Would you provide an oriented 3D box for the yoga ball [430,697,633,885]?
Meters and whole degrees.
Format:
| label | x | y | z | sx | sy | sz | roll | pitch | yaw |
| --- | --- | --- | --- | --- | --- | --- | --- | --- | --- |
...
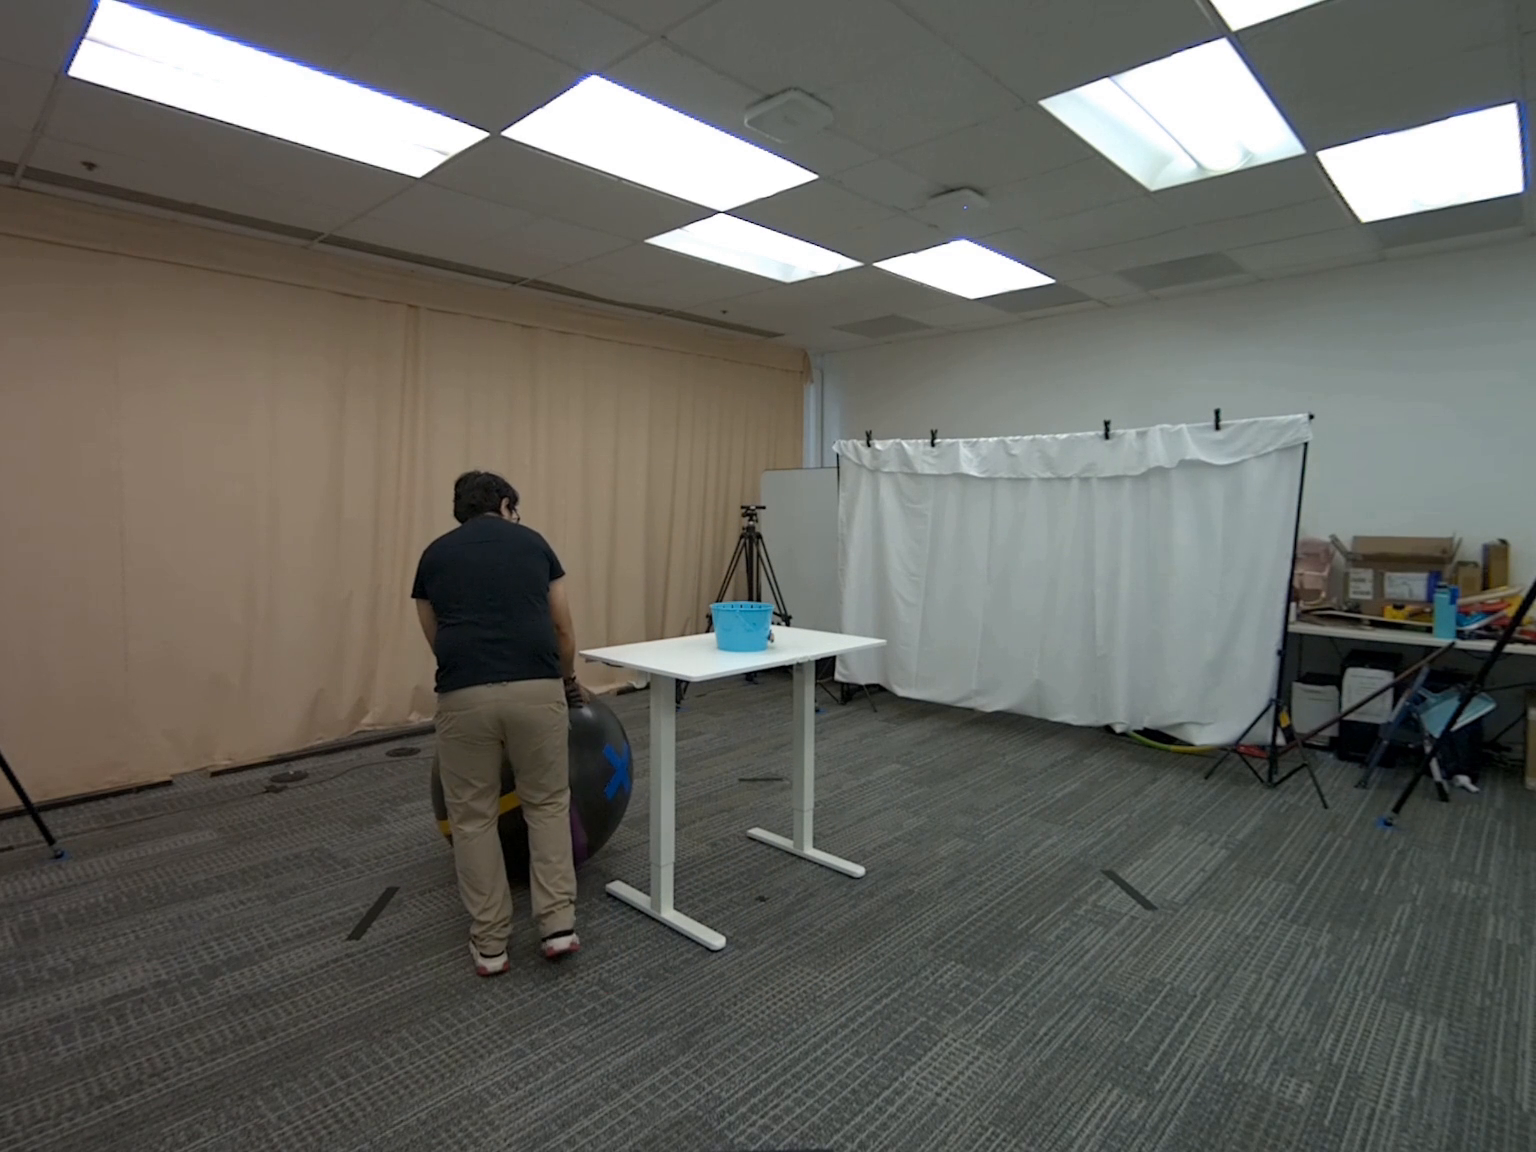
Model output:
| label | x | y | z | sx | sy | sz | roll | pitch | yaw |
| --- | --- | --- | --- | --- | --- | --- | --- | --- | --- |
| yoga ball | -0.905 | 0.766 | 3.235 | 0.757 | 0.756 | 0.760 | 0 | 4 | -2 |
